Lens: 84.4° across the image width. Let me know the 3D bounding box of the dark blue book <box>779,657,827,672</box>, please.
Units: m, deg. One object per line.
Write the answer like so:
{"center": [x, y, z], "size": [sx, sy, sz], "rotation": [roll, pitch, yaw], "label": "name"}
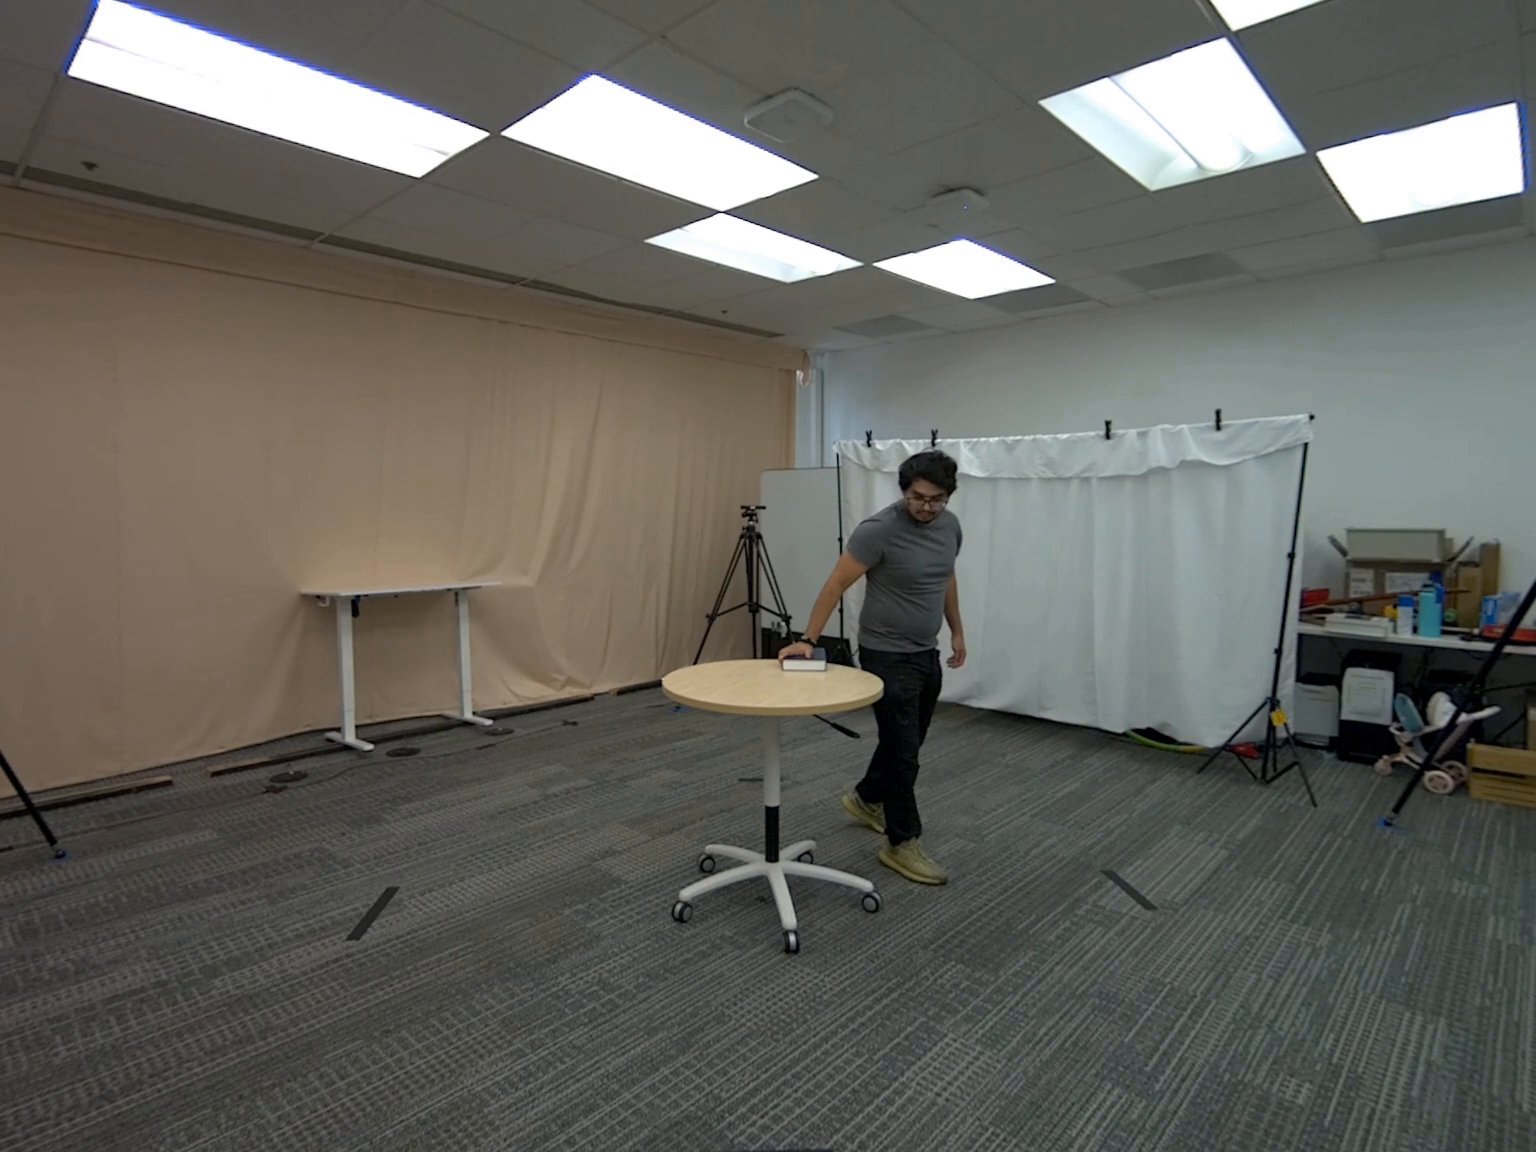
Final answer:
{"center": [0.140, 0.319, 3.215], "size": [0.164, 0.045, 0.245], "rotation": [0, 6, 2], "label": "dark blue book"}
